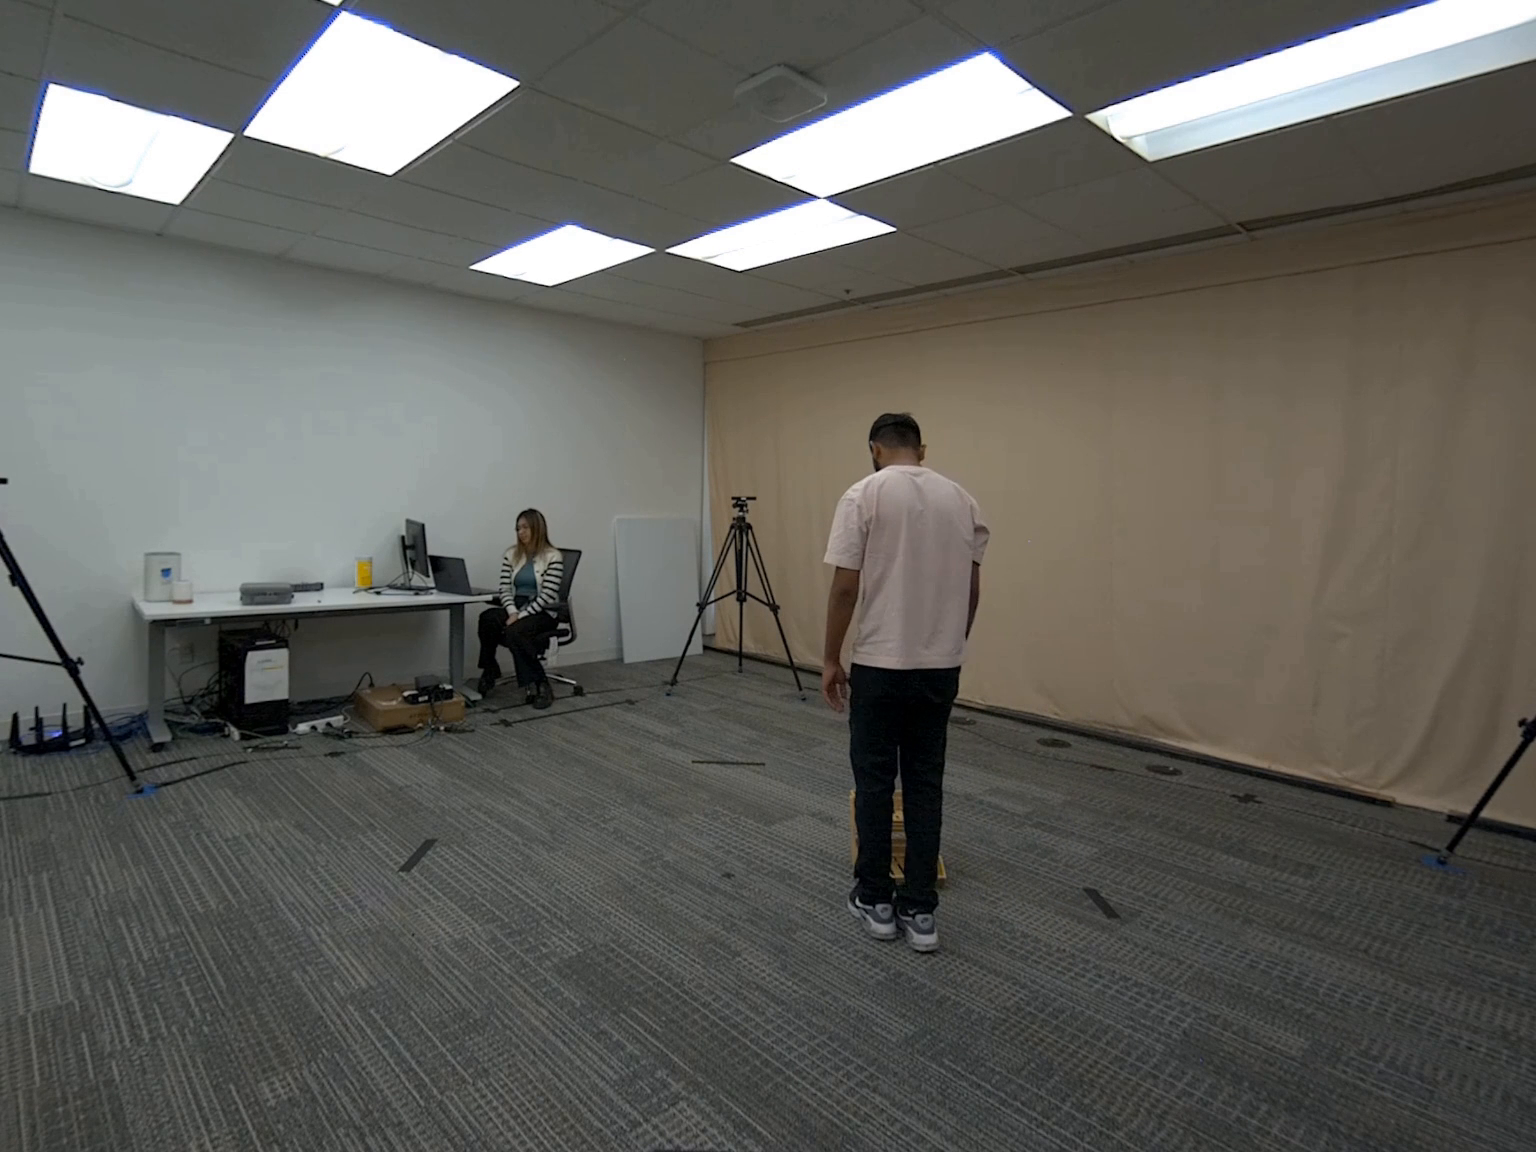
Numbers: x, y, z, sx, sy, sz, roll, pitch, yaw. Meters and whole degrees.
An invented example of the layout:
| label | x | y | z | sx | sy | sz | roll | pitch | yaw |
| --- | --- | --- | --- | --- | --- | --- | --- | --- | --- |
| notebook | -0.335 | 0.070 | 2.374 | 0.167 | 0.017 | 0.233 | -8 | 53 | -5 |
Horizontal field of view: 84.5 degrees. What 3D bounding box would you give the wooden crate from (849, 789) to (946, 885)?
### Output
| label | x | y | z | sx | sy | sz | roll | pitch | yaw |
| --- | --- | --- | --- | --- | --- | --- | --- | --- | --- |
| wooden crate | 0.488 | 0.988 | 3.160 | 0.323 | 0.273 | 0.303 | 1 | 2 | -5 |
